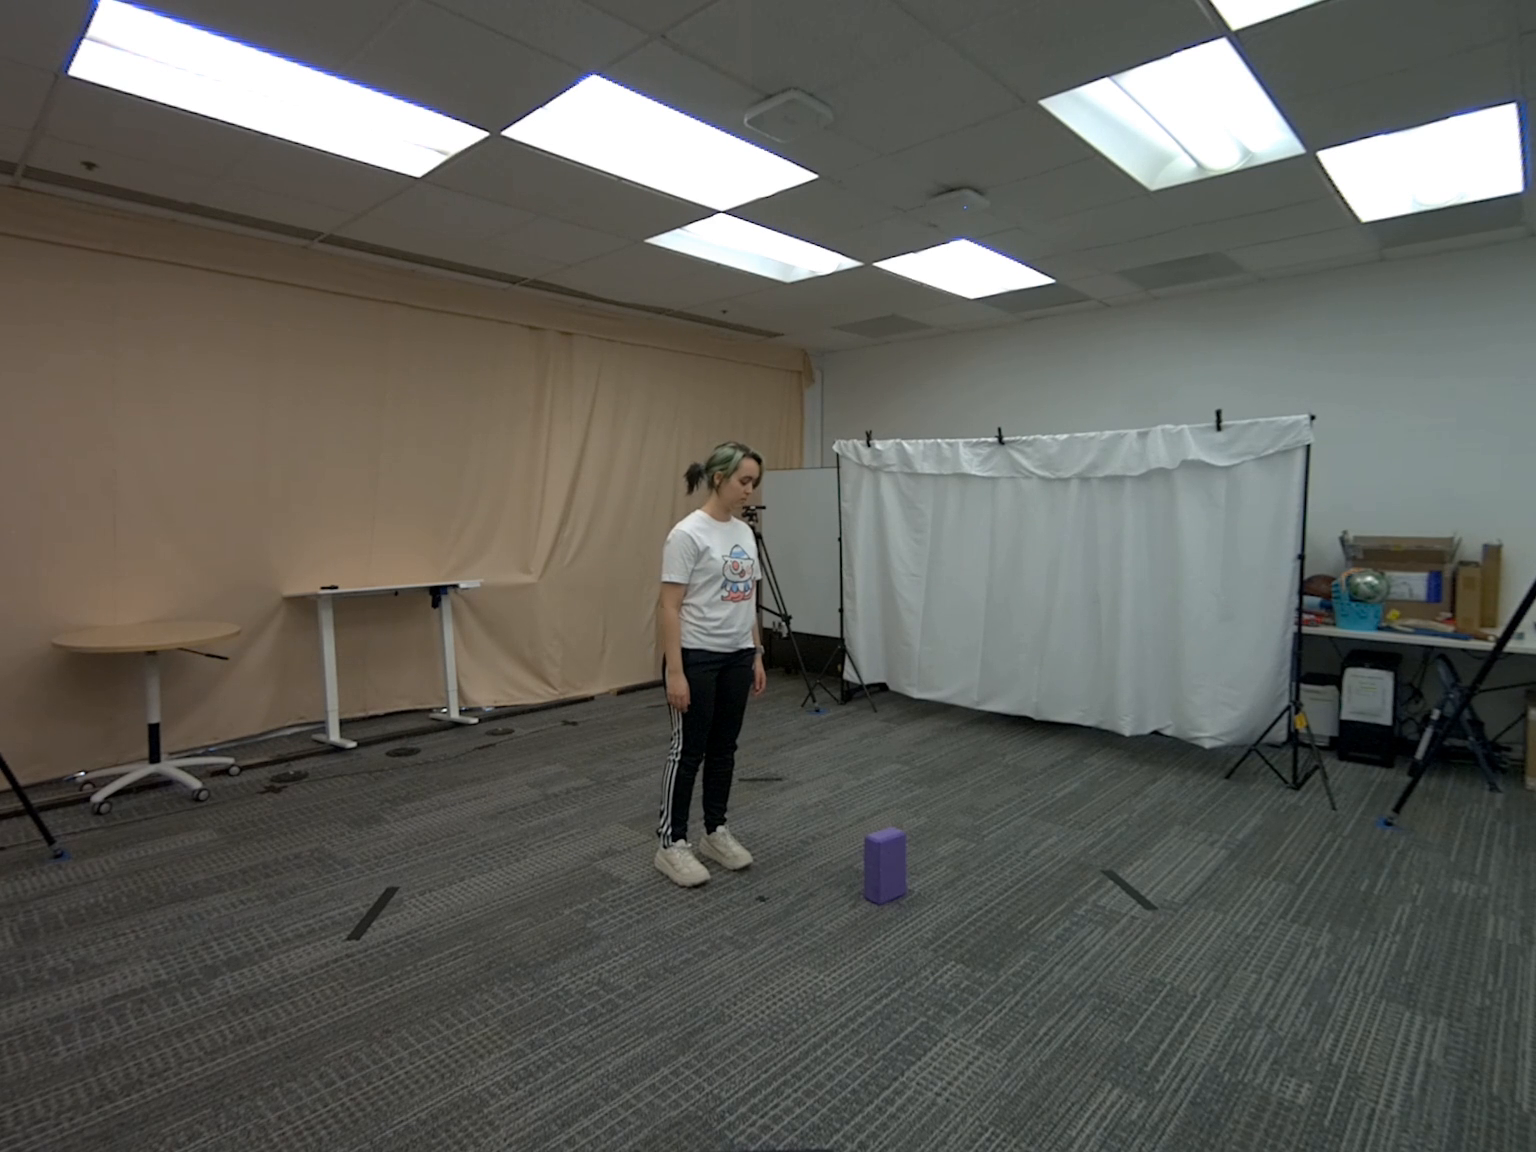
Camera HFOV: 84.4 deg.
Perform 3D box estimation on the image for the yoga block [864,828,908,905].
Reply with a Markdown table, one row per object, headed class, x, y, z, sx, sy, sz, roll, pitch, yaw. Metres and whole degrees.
| class | x | y | z | sx | sy | sz | roll | pitch | yaw |
| --- | --- | --- | --- | --- | --- | --- | --- | --- | --- |
| yoga block | 0.421 | 1.024 | 2.988 | 0.144 | 0.229 | 0.079 | -2 | 3 | -38 |
